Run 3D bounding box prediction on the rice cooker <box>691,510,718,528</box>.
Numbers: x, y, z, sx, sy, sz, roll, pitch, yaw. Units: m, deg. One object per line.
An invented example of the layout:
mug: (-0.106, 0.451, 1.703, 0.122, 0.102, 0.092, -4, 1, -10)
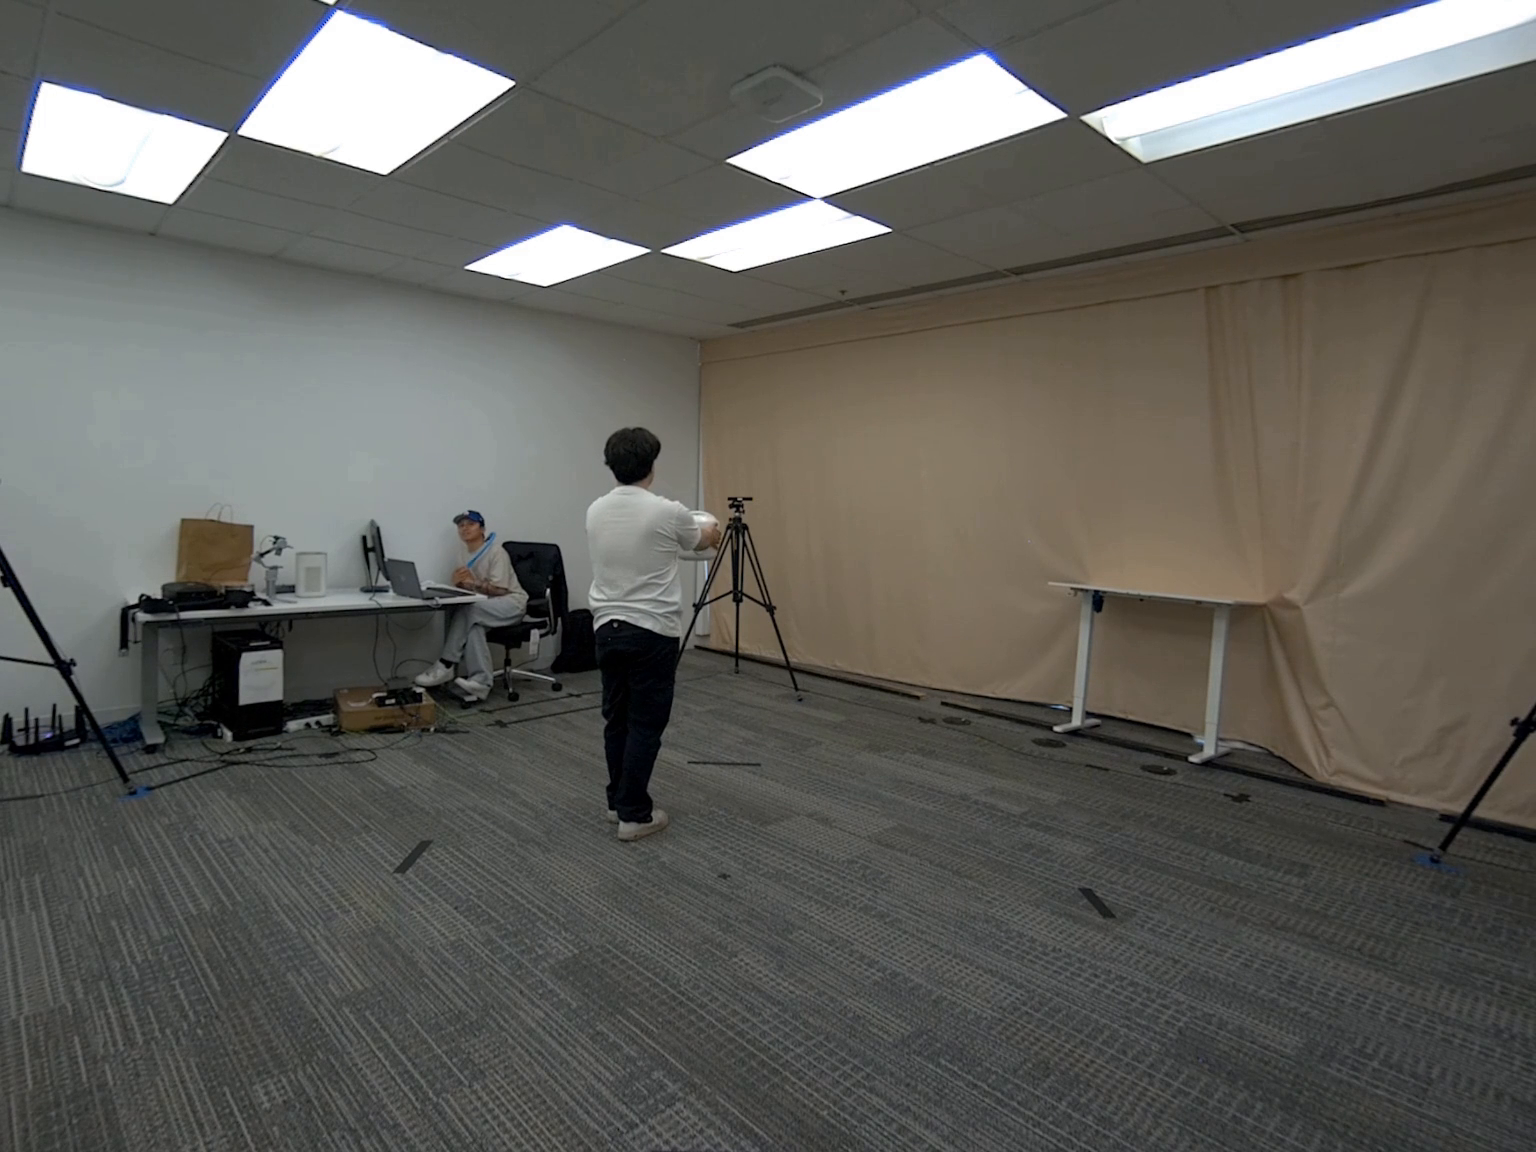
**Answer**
rice cooker: (-0.344, -0.194, 4.025, 0.218, 0.232, 0.220, -1, 7, -12)
